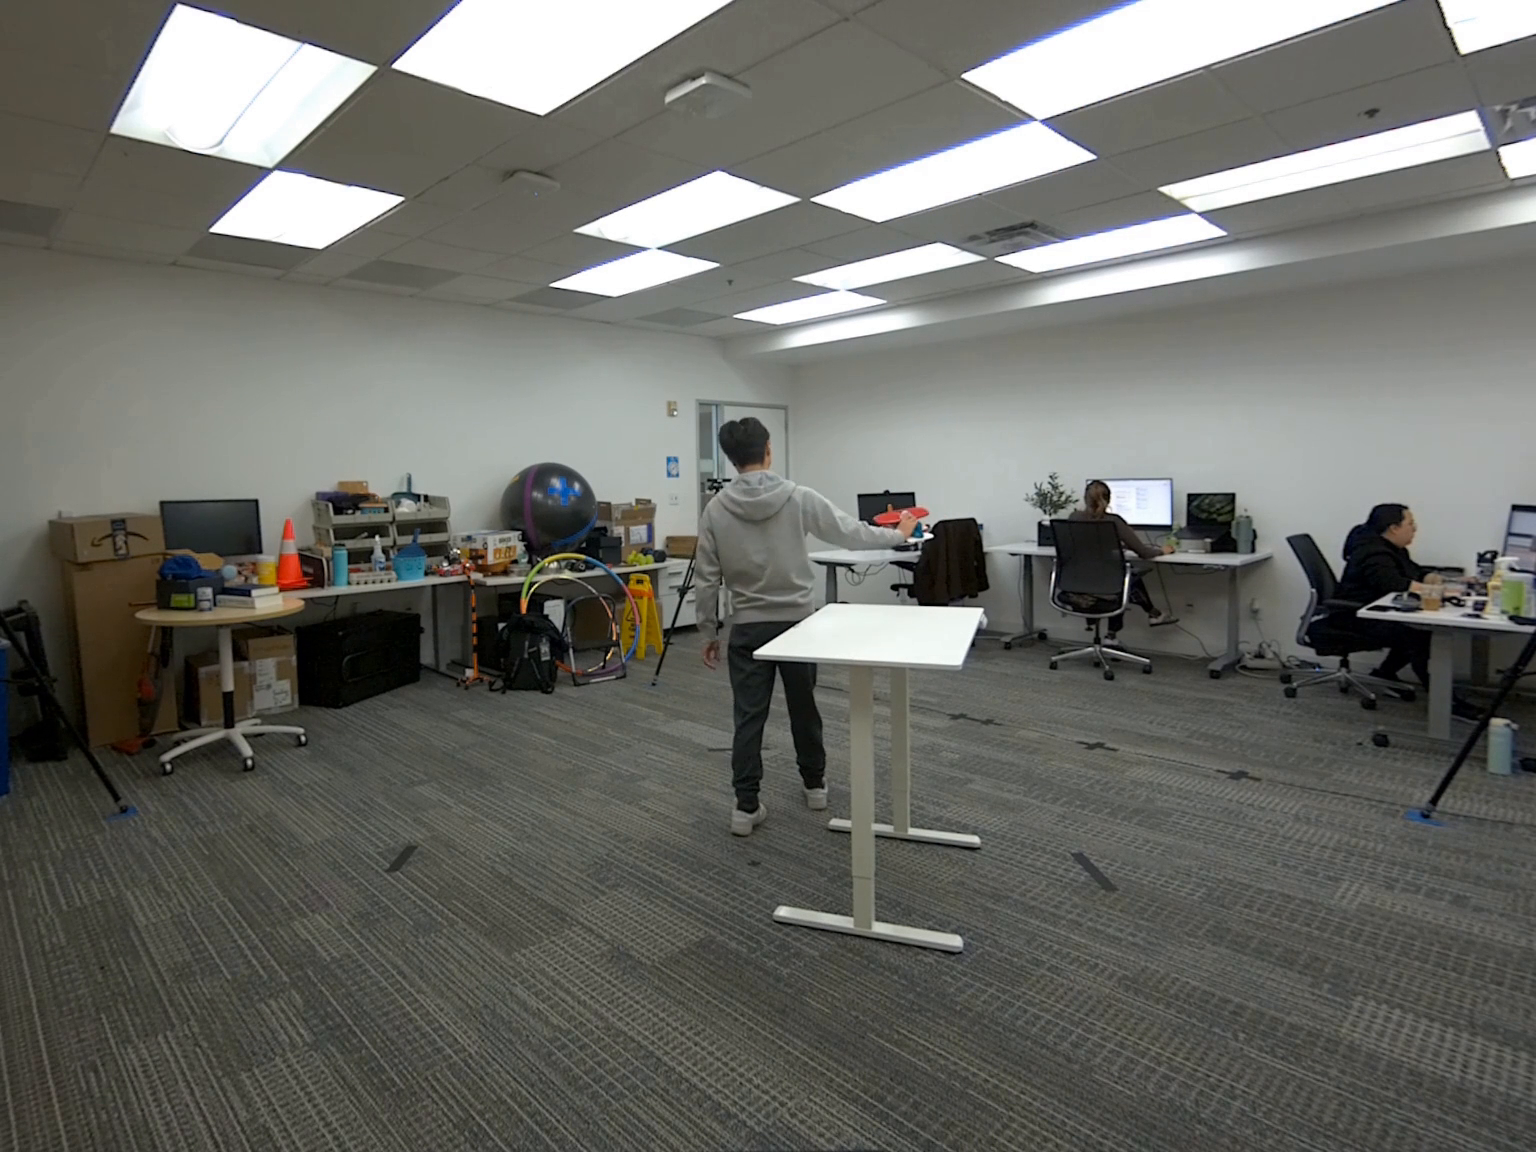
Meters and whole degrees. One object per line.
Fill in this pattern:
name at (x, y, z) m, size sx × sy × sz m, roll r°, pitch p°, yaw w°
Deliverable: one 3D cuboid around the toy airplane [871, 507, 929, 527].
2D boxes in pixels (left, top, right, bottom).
toy airplane at (0.615, -0.217, 3.693) m, size 0.267 × 0.154 × 0.247 m, roll 1°, pitch 16°, yaw 42°
